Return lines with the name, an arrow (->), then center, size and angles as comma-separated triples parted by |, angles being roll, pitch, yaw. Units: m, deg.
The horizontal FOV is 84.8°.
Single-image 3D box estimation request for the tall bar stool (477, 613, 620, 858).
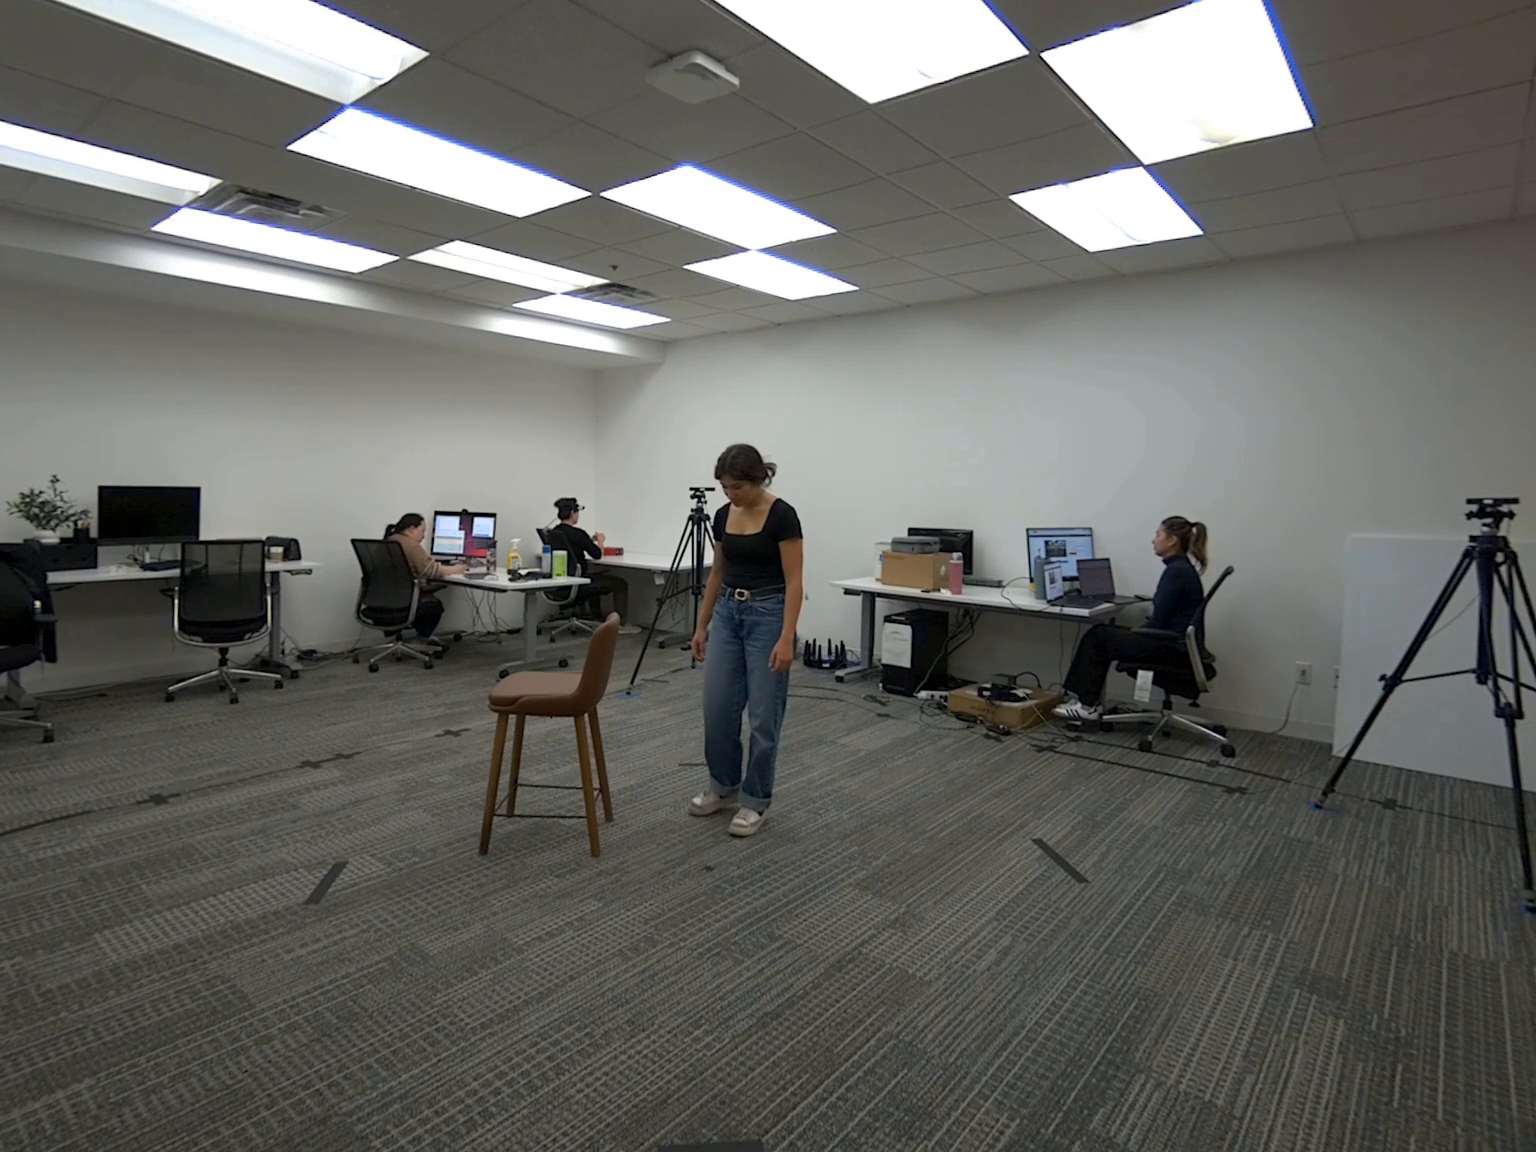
tall bar stool -> -0.863, 0.595, 3.361 | 0.468, 0.887, 0.457 | 3, 3, 0
